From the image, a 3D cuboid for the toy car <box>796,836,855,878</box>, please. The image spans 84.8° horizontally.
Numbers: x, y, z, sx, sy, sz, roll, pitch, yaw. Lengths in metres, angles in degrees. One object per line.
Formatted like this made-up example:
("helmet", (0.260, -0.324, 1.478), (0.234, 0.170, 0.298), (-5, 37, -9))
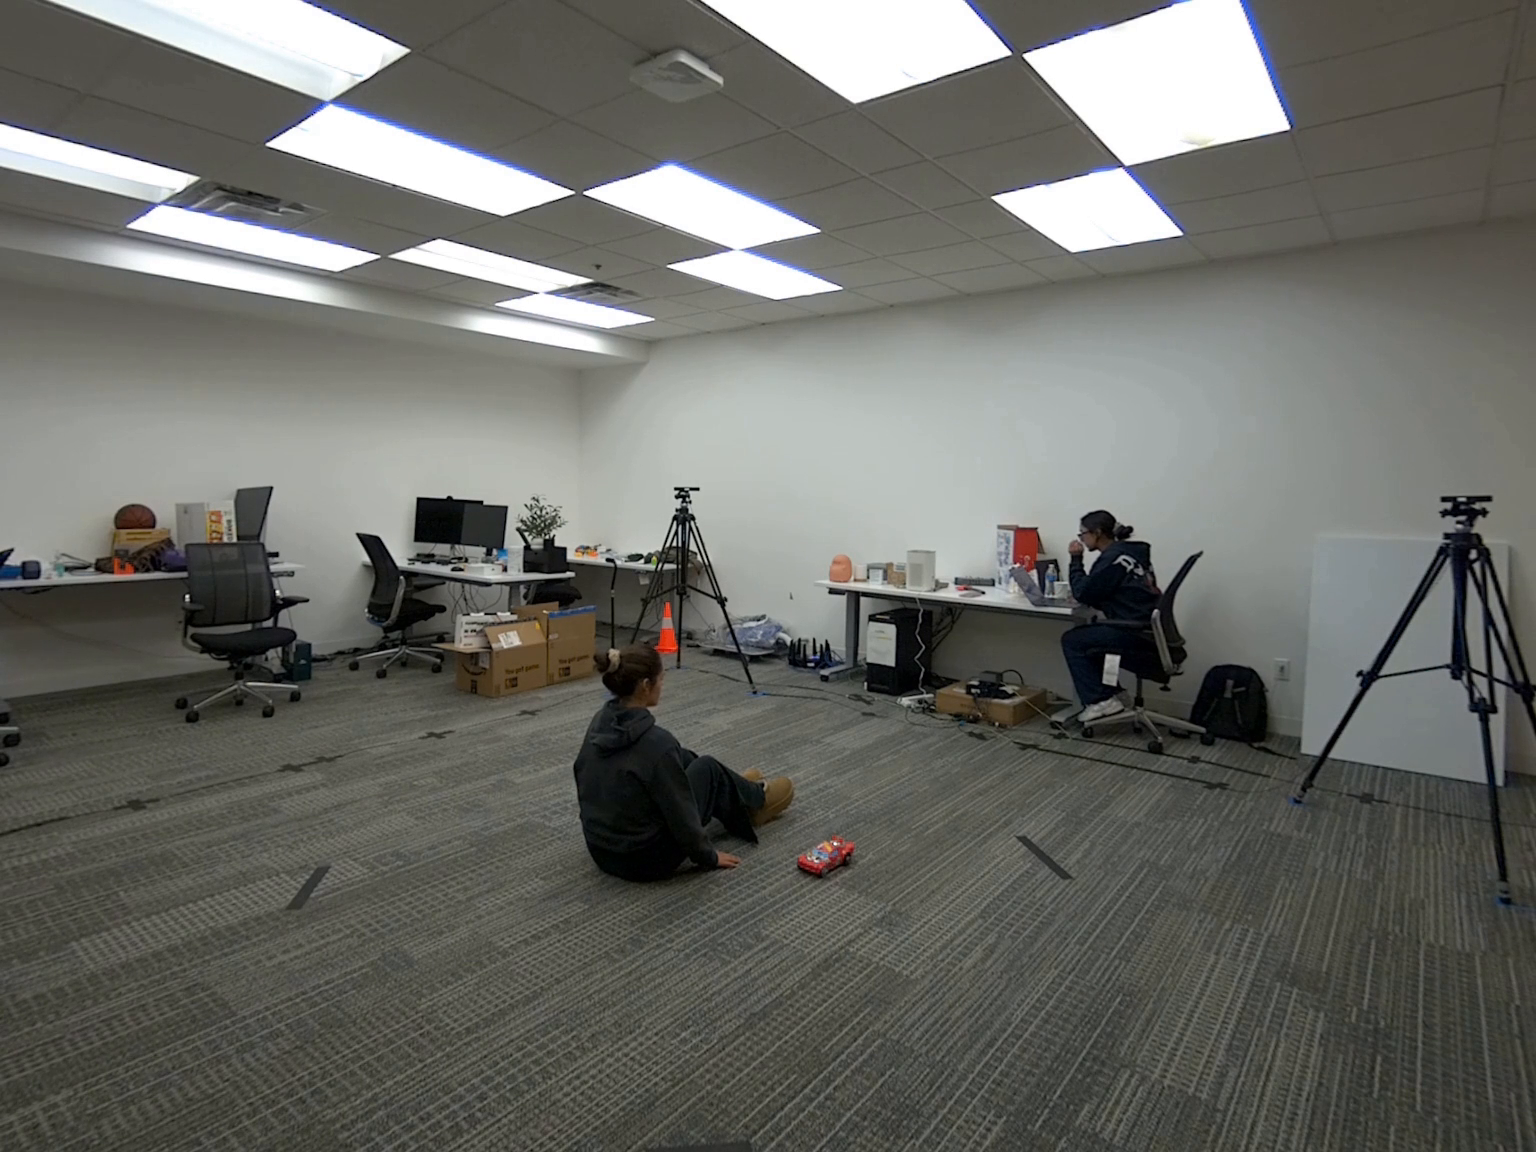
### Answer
("toy car", (0.228, 1.039, 3.158), (0.135, 0.082, 0.249), (6, 18, 41))
